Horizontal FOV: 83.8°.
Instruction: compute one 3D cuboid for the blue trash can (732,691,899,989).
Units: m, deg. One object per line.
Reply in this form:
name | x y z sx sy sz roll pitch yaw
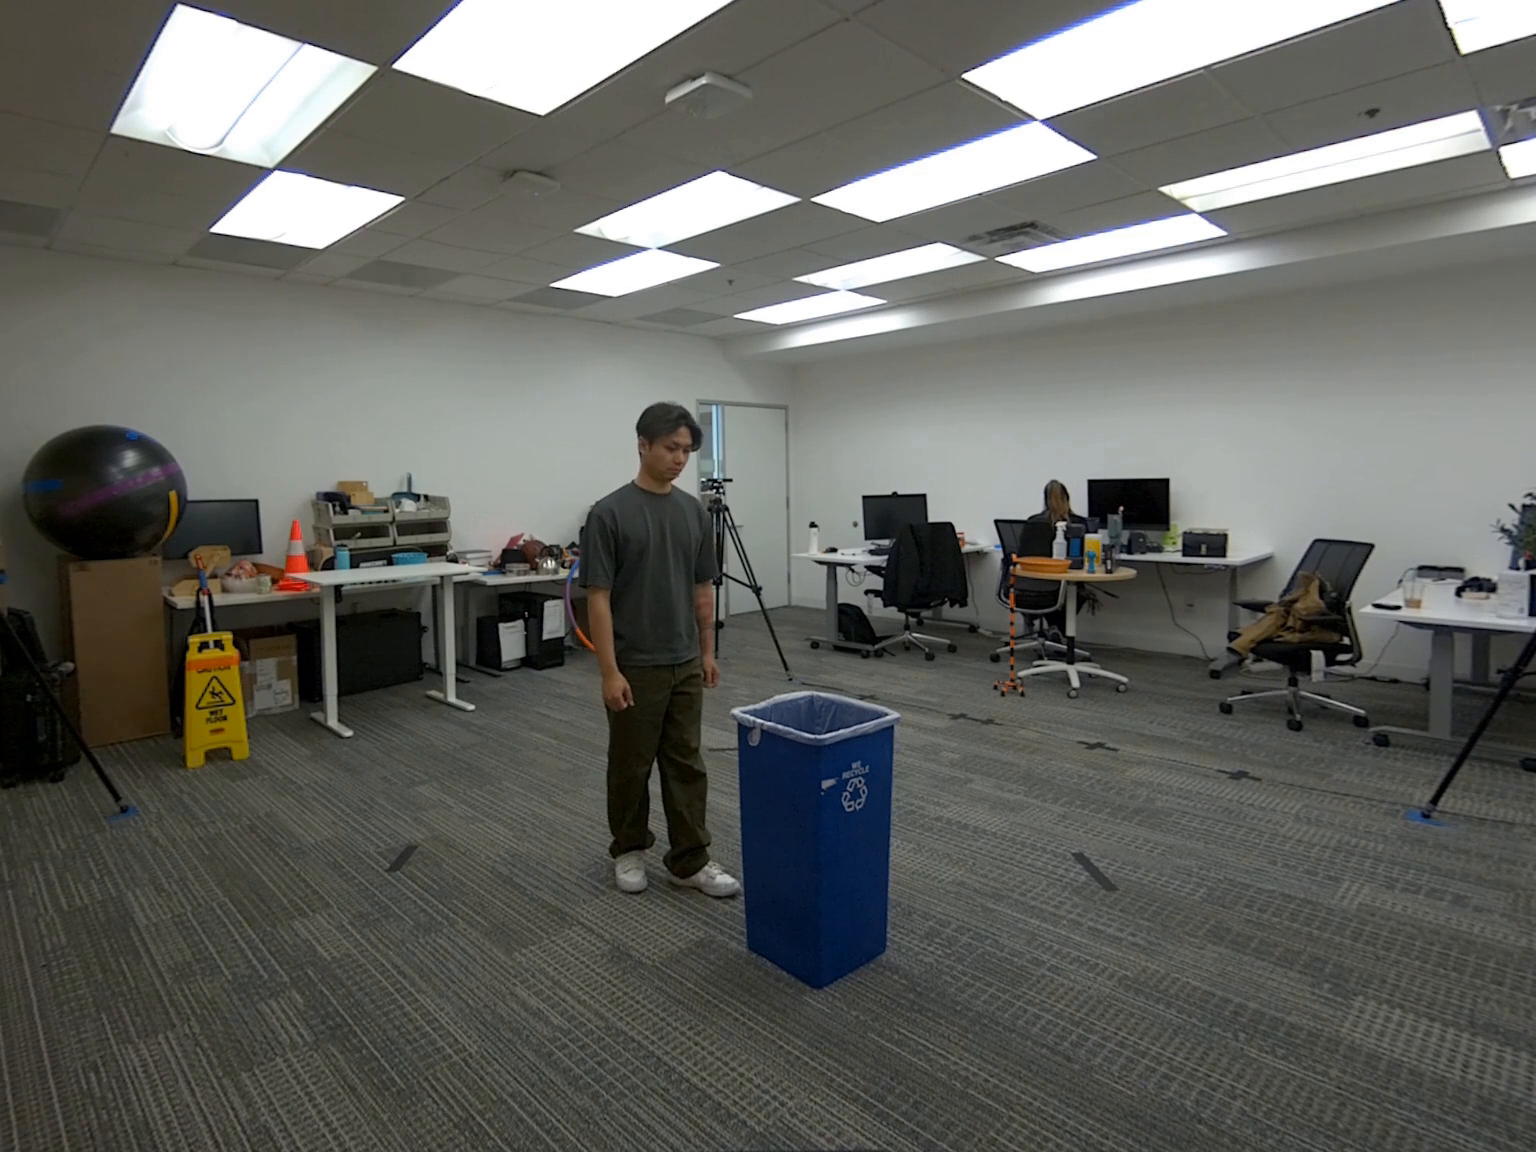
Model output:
blue trash can | 0.137 0.752 2.517 0.368 0.710 0.386 -4 6 -43
